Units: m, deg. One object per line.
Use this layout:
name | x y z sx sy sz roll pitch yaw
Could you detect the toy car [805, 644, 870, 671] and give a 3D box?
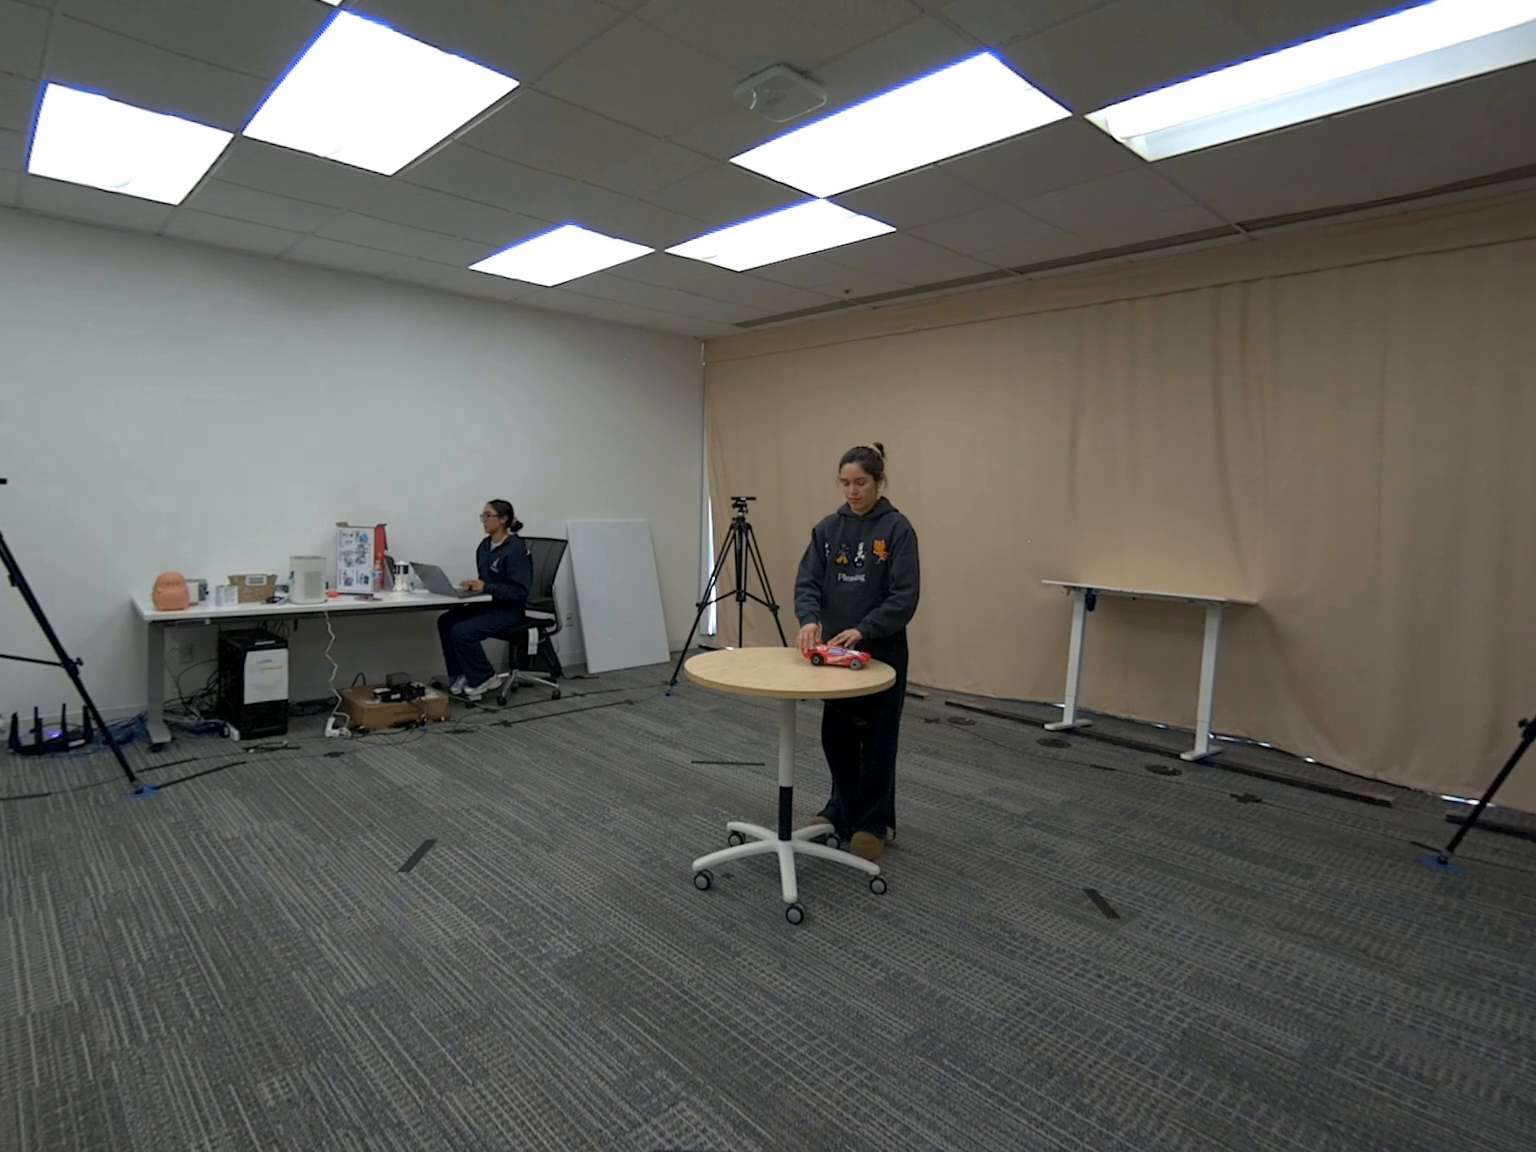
toy car | 0.232 0.297 3.128 0.259 0.083 0.128 14 8 20
